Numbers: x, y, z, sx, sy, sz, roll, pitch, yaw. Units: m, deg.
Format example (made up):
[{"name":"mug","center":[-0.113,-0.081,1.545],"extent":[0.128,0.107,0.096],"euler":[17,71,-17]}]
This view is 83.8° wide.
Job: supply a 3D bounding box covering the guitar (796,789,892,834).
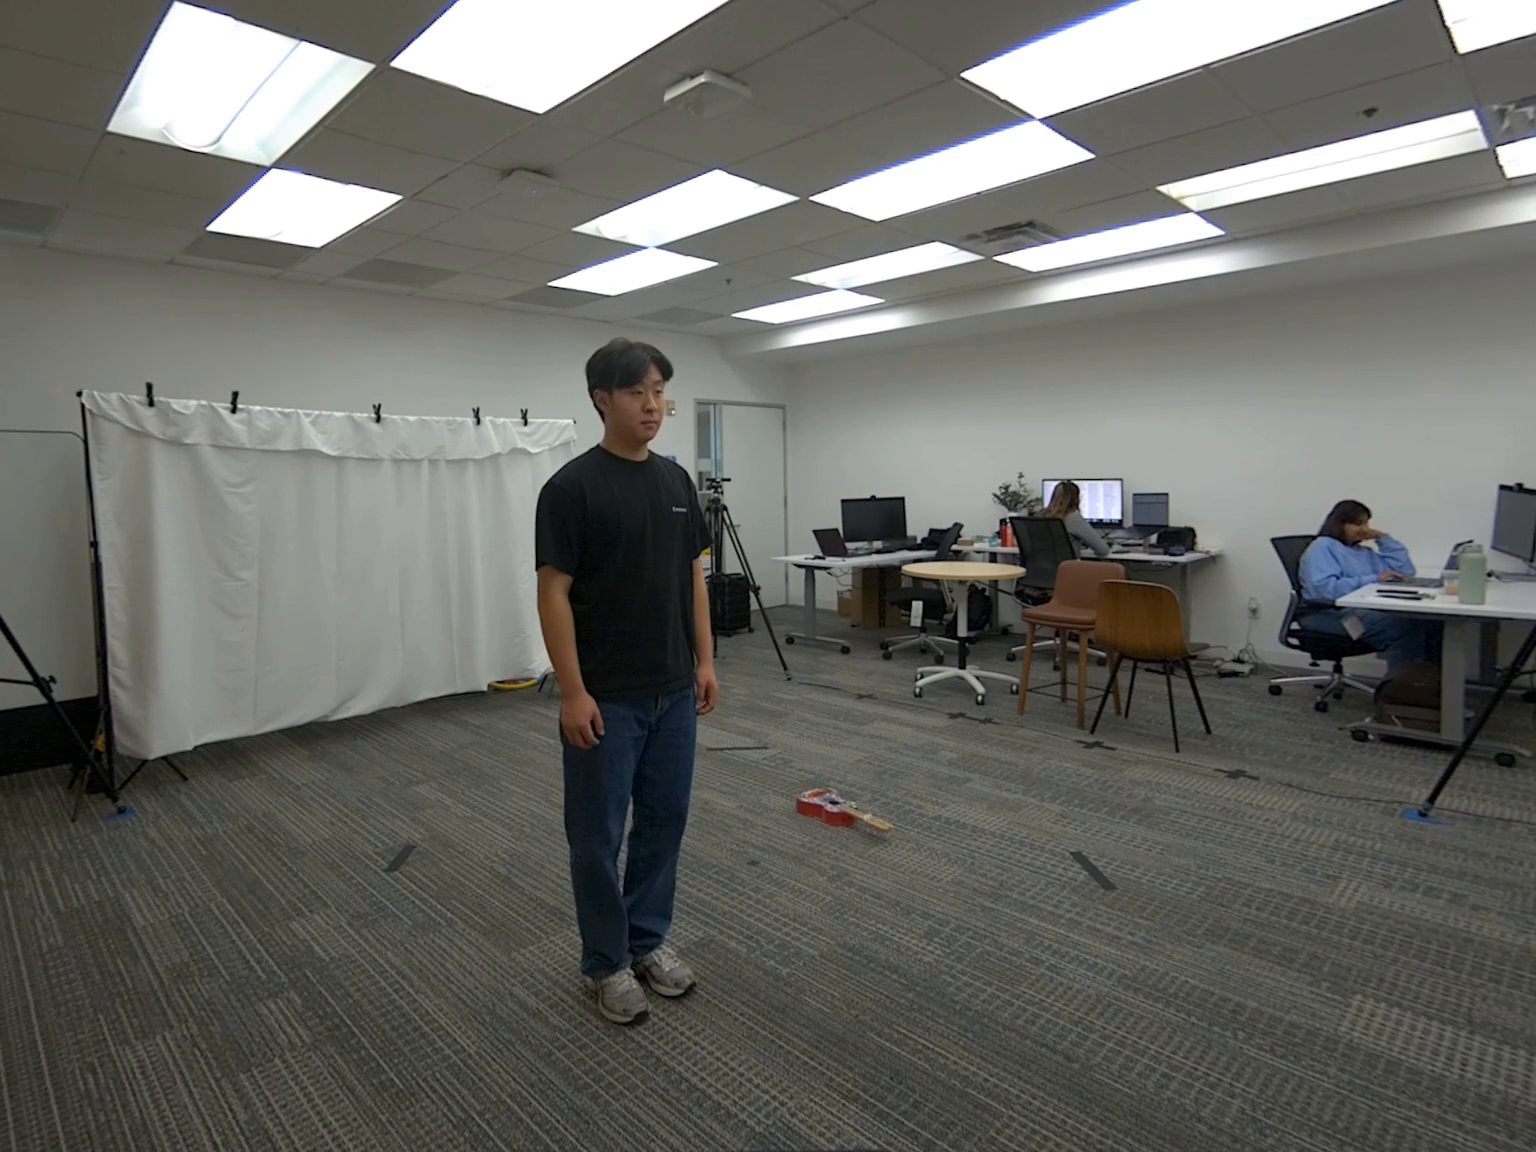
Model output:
[{"name":"guitar","center":[0.297,0.965,3.442],"extent":[0.189,0.070,0.510],"euler":[-3,6,-26]}]
